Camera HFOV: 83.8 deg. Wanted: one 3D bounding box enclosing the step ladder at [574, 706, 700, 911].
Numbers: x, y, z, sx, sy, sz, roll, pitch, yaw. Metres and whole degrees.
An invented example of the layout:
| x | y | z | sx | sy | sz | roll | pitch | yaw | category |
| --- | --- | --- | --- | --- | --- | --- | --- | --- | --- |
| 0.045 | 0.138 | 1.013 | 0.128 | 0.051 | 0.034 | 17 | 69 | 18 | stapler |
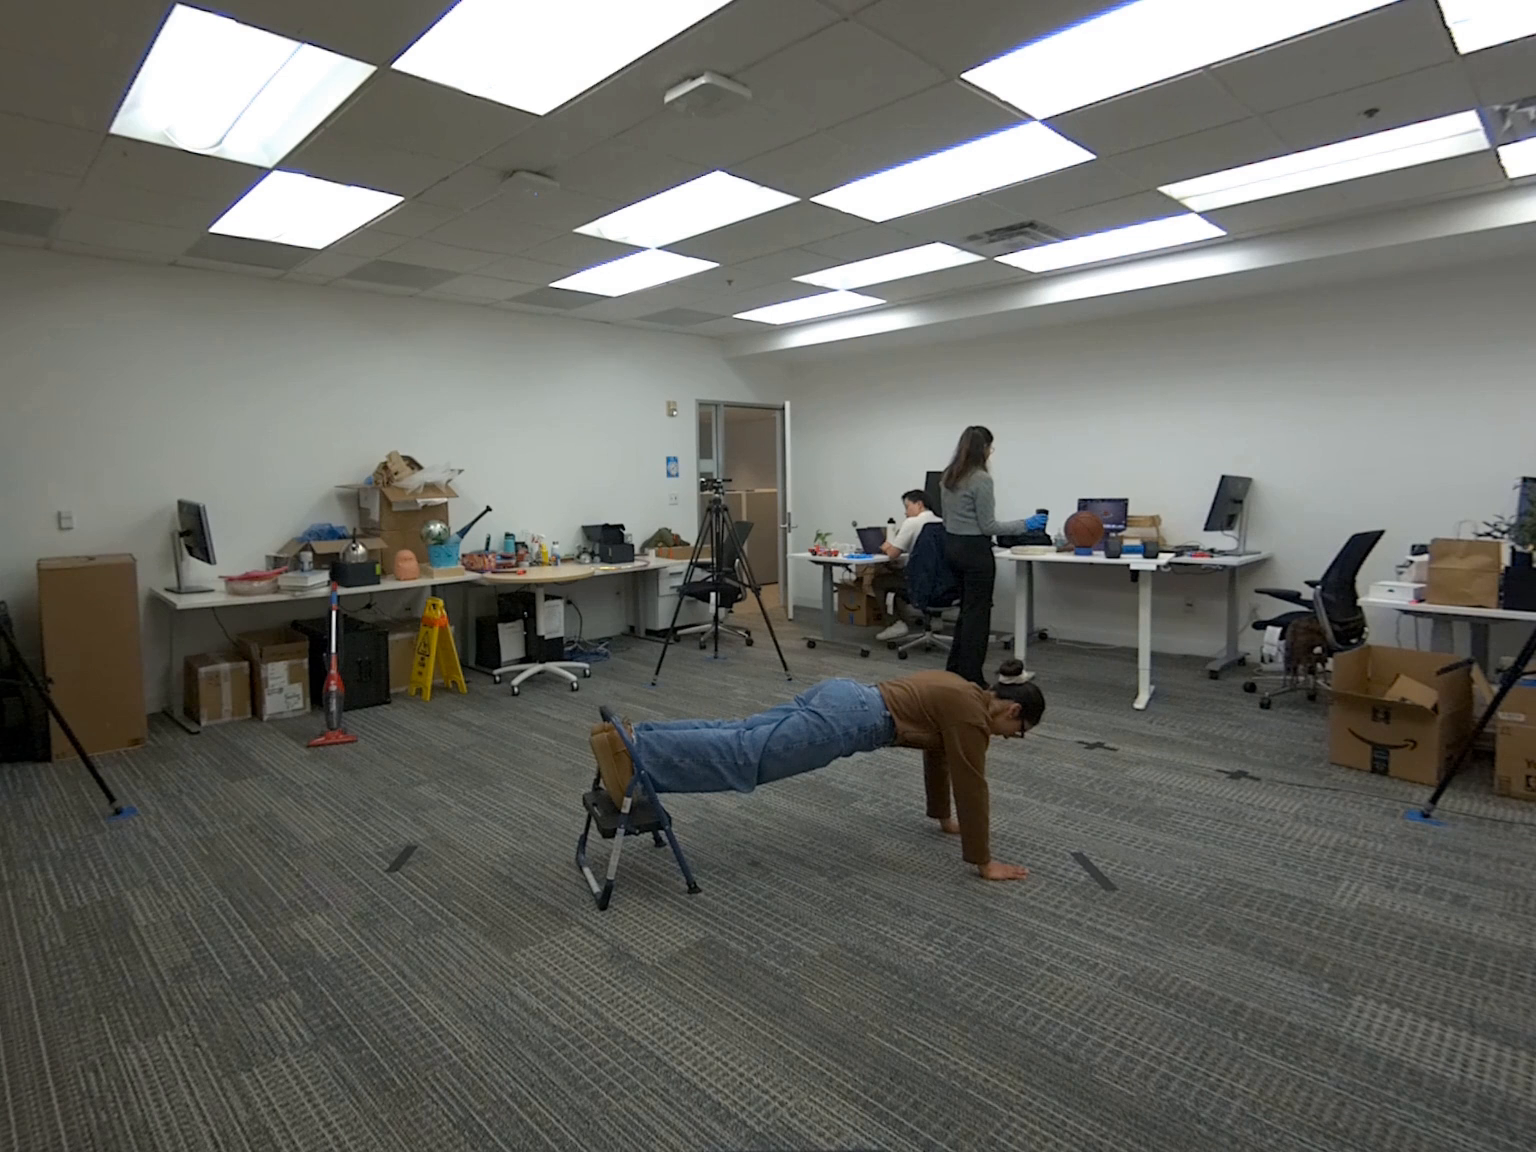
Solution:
| x | y | z | sx | sy | sz | roll | pitch | yaw | category |
| --- | --- | --- | --- | --- | --- | --- | --- | --- | --- |
| -0.476 | 0.764 | 3.009 | 0.342 | 0.604 | 0.441 | -3 | 5 | -24 | step ladder |
